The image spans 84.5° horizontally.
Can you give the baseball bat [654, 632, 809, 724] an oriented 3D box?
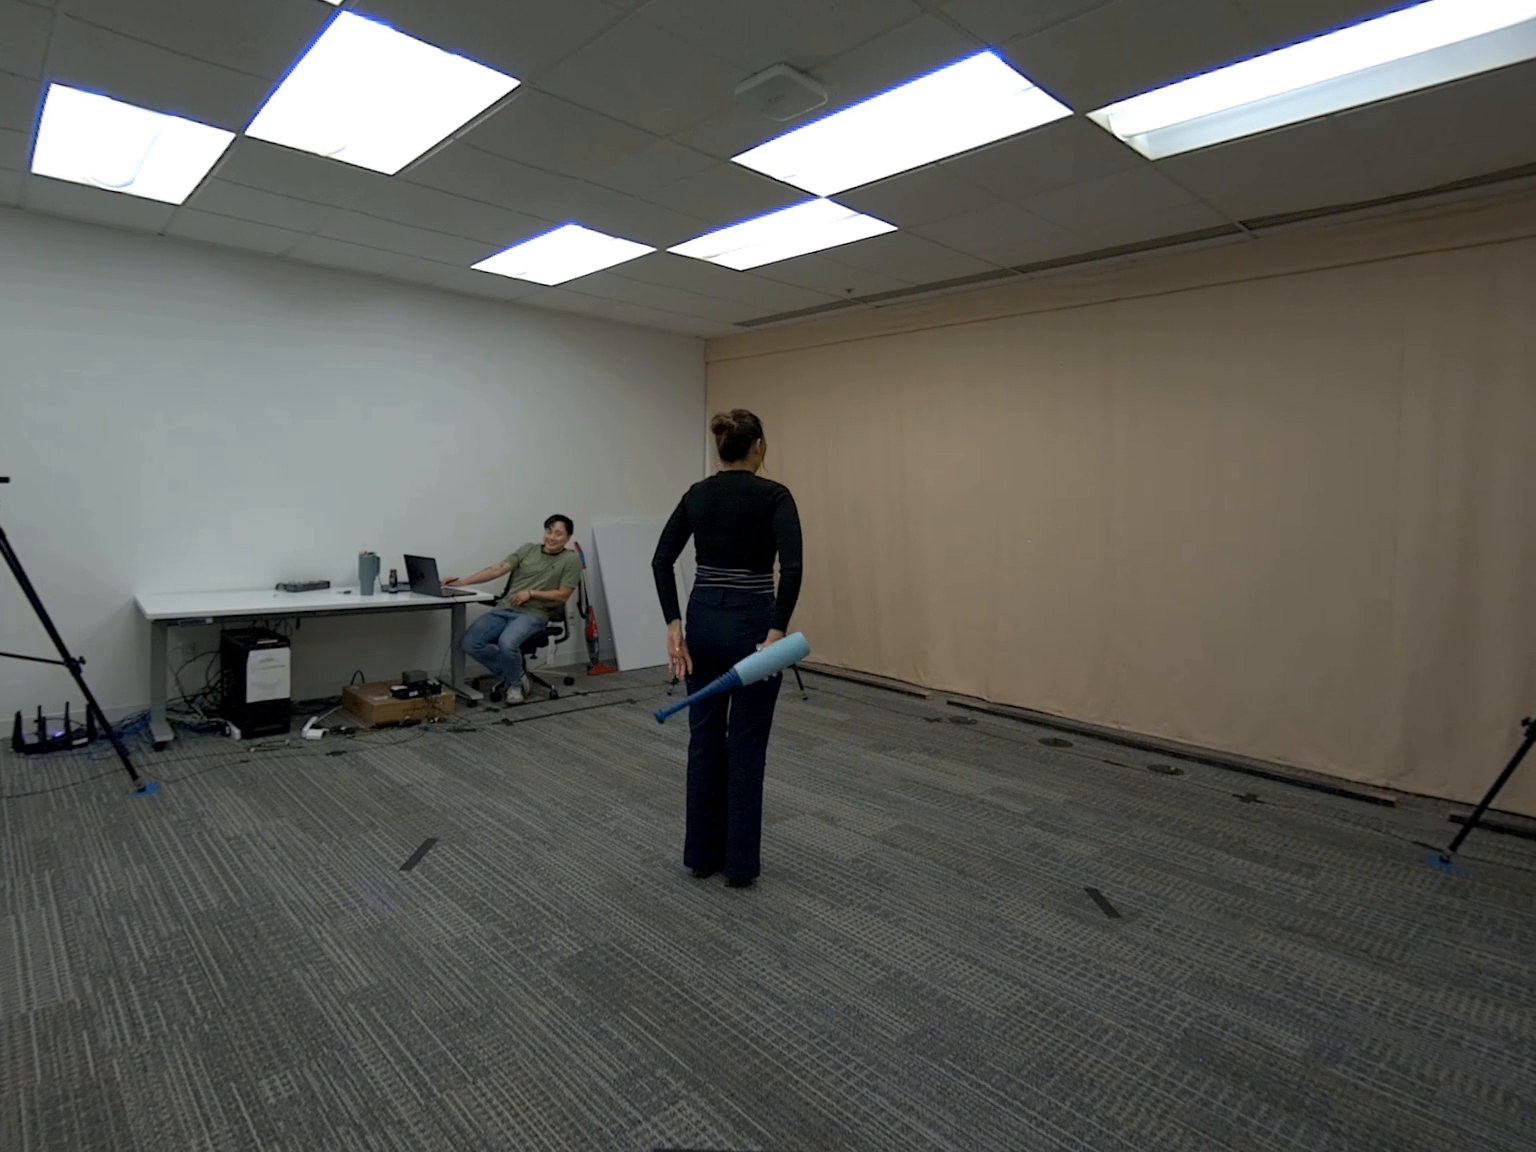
[{"bbox_3d":[-0.129,0.325,2.688,0.541,0.088,0.090,-26,10,-10],"label":"baseball bat"}]
